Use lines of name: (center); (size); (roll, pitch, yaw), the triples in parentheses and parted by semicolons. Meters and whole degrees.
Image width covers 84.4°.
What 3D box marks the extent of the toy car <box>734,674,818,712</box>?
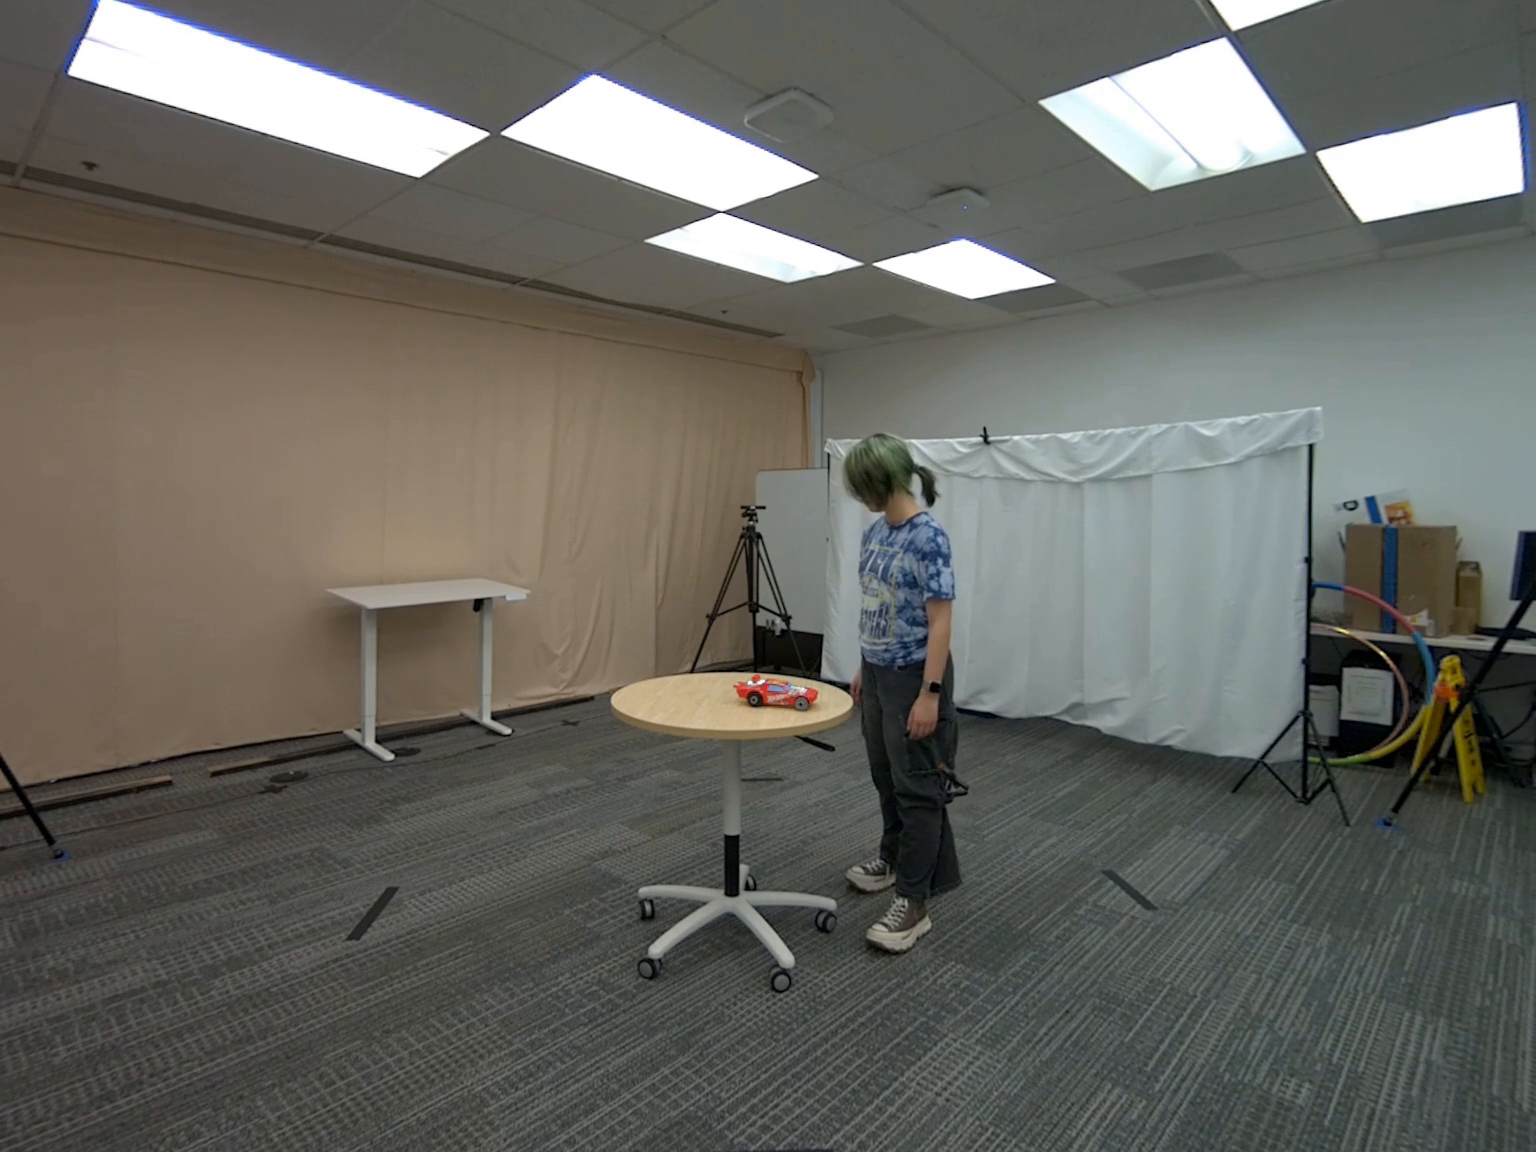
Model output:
toy car: (0.027, 0.365, 2.582); (0.259, 0.083, 0.128); (13, 8, 15)
